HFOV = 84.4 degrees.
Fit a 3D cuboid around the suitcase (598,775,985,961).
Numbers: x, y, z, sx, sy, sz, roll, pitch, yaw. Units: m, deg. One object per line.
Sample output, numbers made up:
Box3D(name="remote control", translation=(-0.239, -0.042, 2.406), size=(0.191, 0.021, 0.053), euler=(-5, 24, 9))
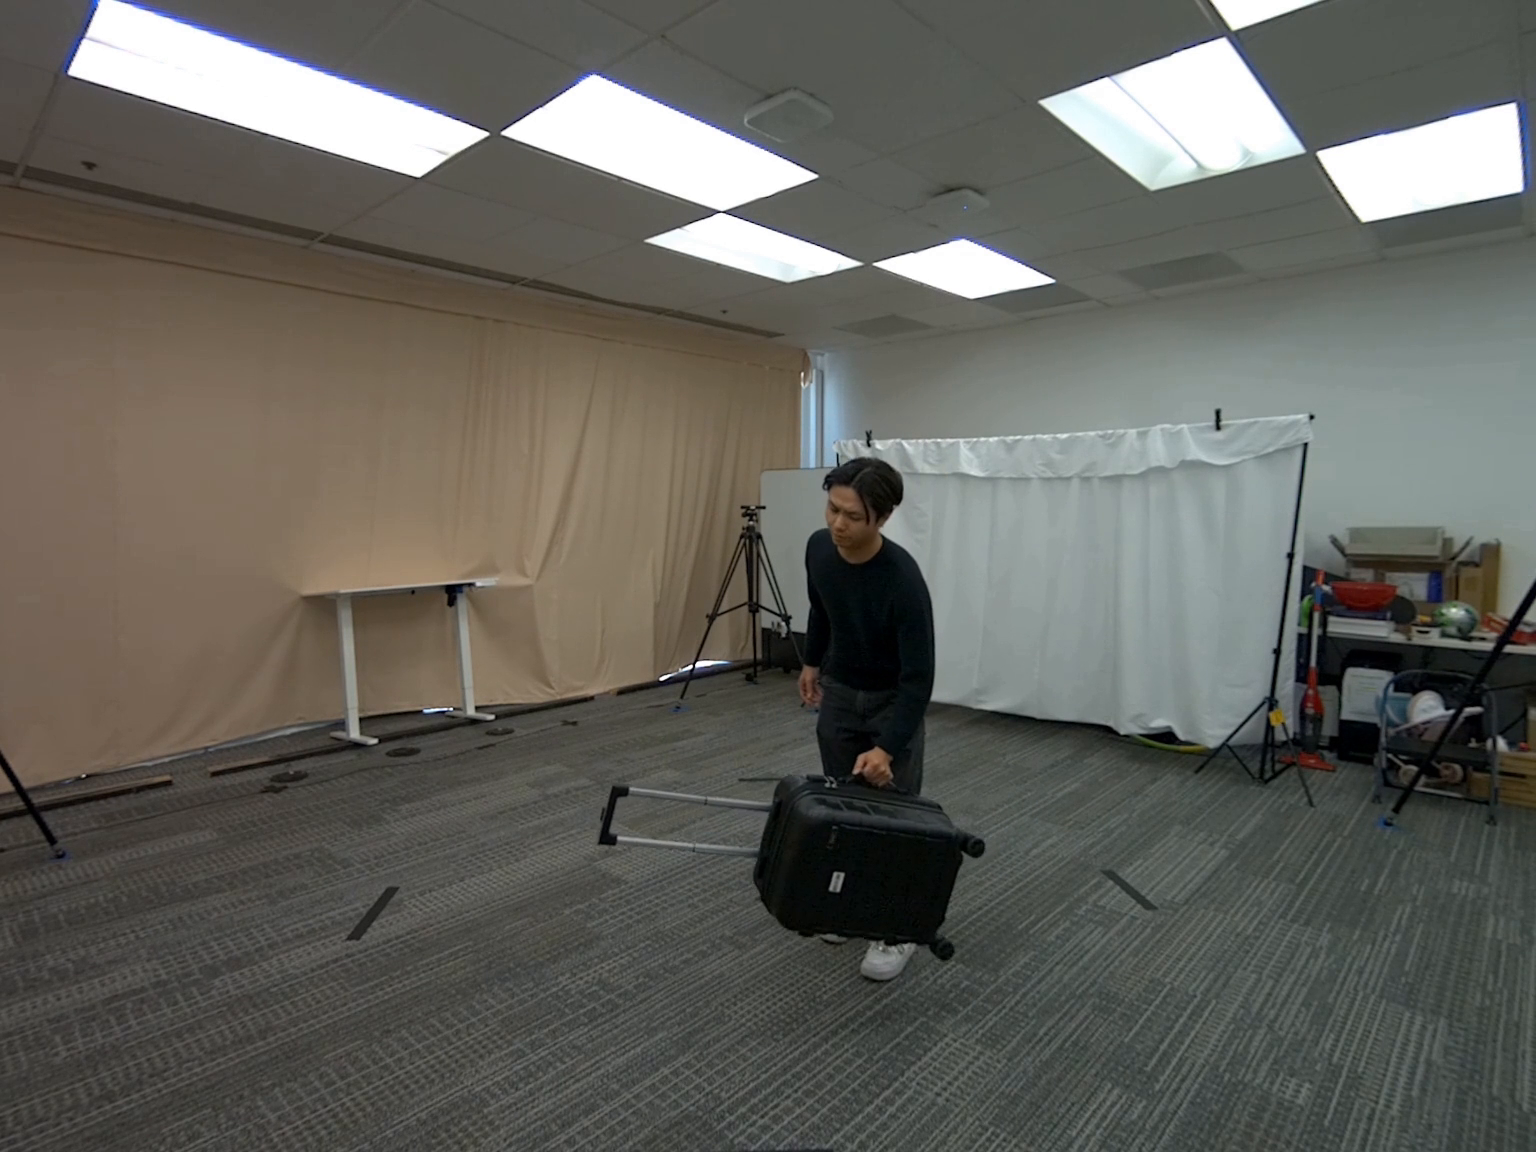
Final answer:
Box3D(name="suitcase", translation=(0.070, 0.719, 2.211), size=(0.957, 0.383, 0.263), euler=(15, 3, -20))
